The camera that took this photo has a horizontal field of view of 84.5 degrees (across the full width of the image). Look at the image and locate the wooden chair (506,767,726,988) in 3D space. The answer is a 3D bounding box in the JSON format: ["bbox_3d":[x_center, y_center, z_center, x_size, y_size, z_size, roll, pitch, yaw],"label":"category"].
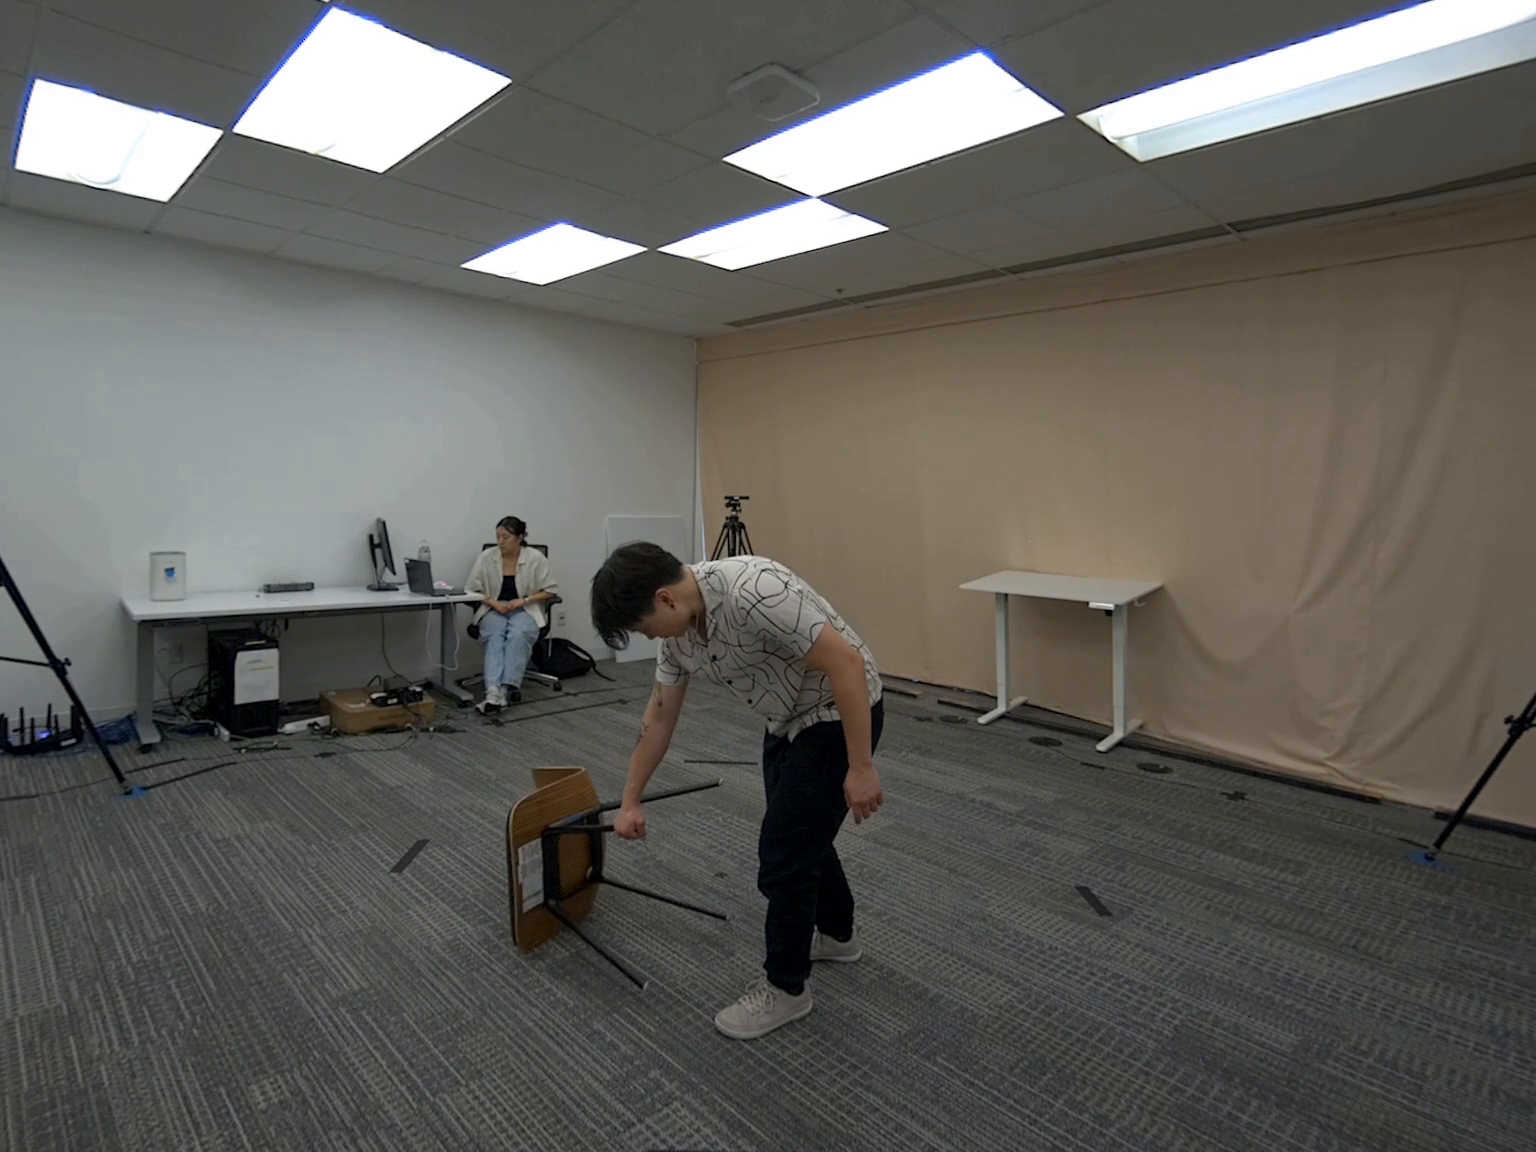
[{"bbox_3d":[-0.626,0.897,2.678,0.896,0.477,0.512,-1,3,34],"label":"wooden chair"}]
